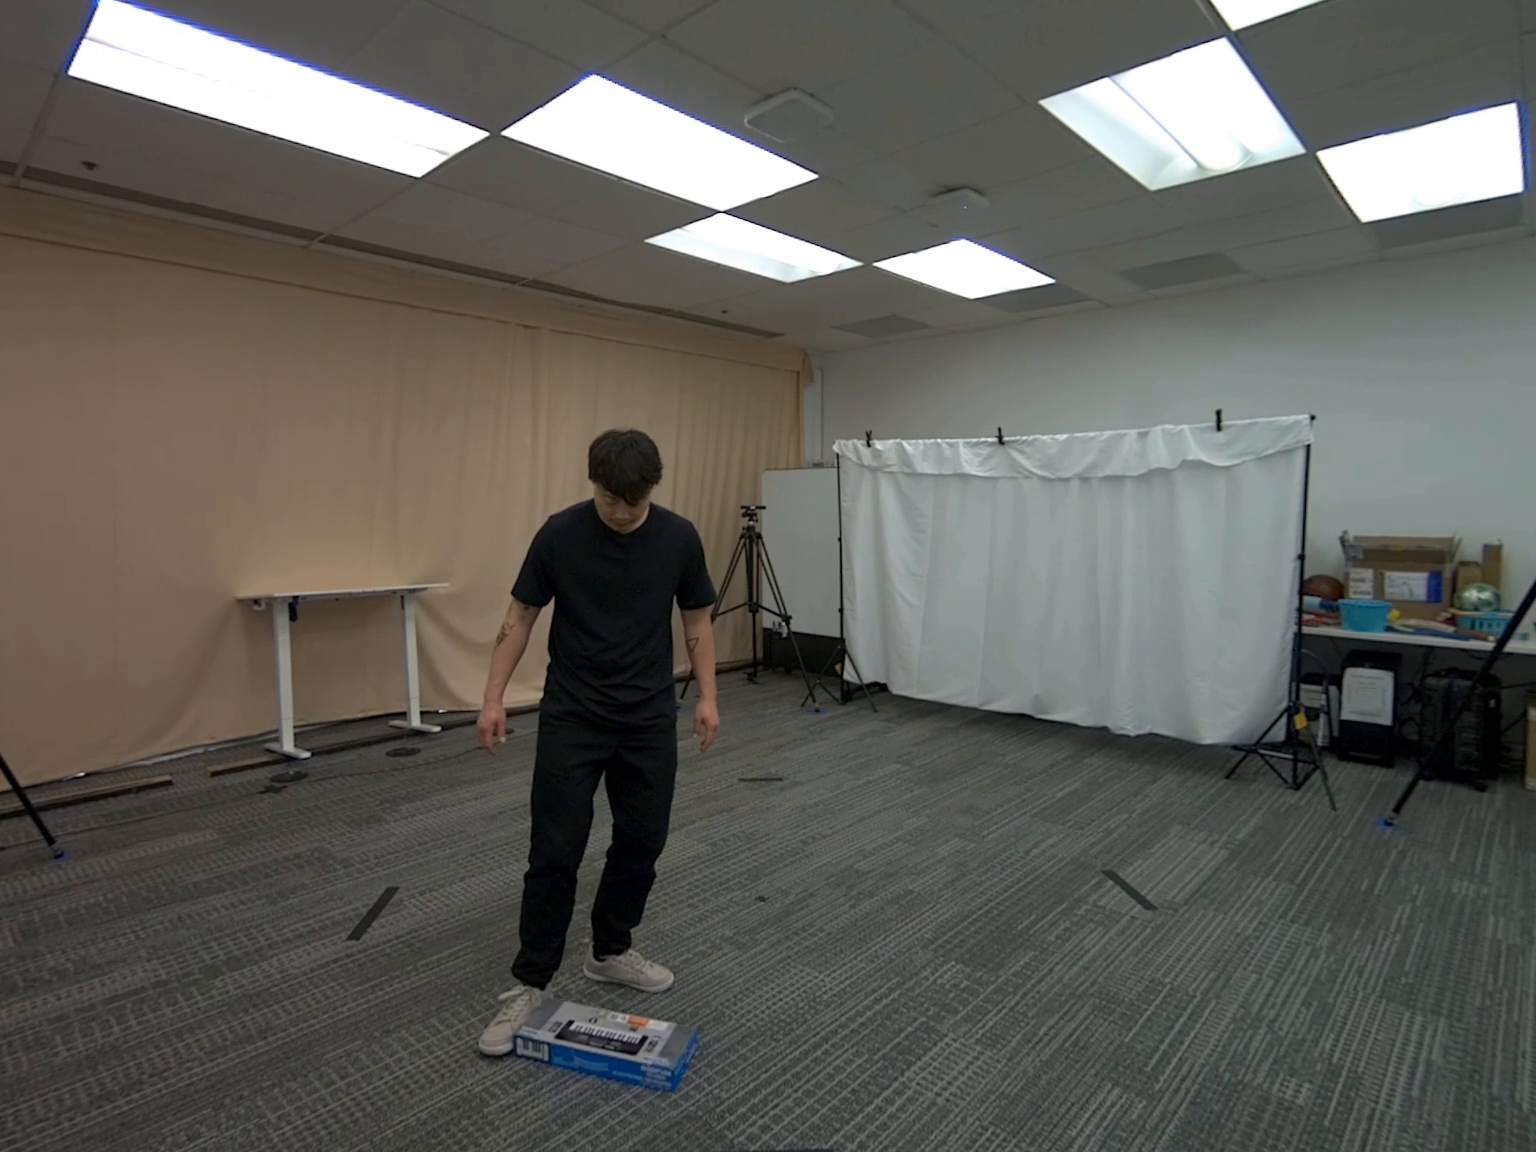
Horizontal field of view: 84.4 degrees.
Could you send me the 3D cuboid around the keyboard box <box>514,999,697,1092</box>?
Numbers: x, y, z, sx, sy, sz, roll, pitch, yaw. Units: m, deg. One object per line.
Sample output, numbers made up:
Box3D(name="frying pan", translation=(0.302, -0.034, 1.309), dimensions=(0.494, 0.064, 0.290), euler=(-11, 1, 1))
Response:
Box3D(name="keyboard box", translation=(-0.404, 1.187, 2.140), dimensions=(0.445, 0.059, 0.173), euler=(1, 4, 18))
